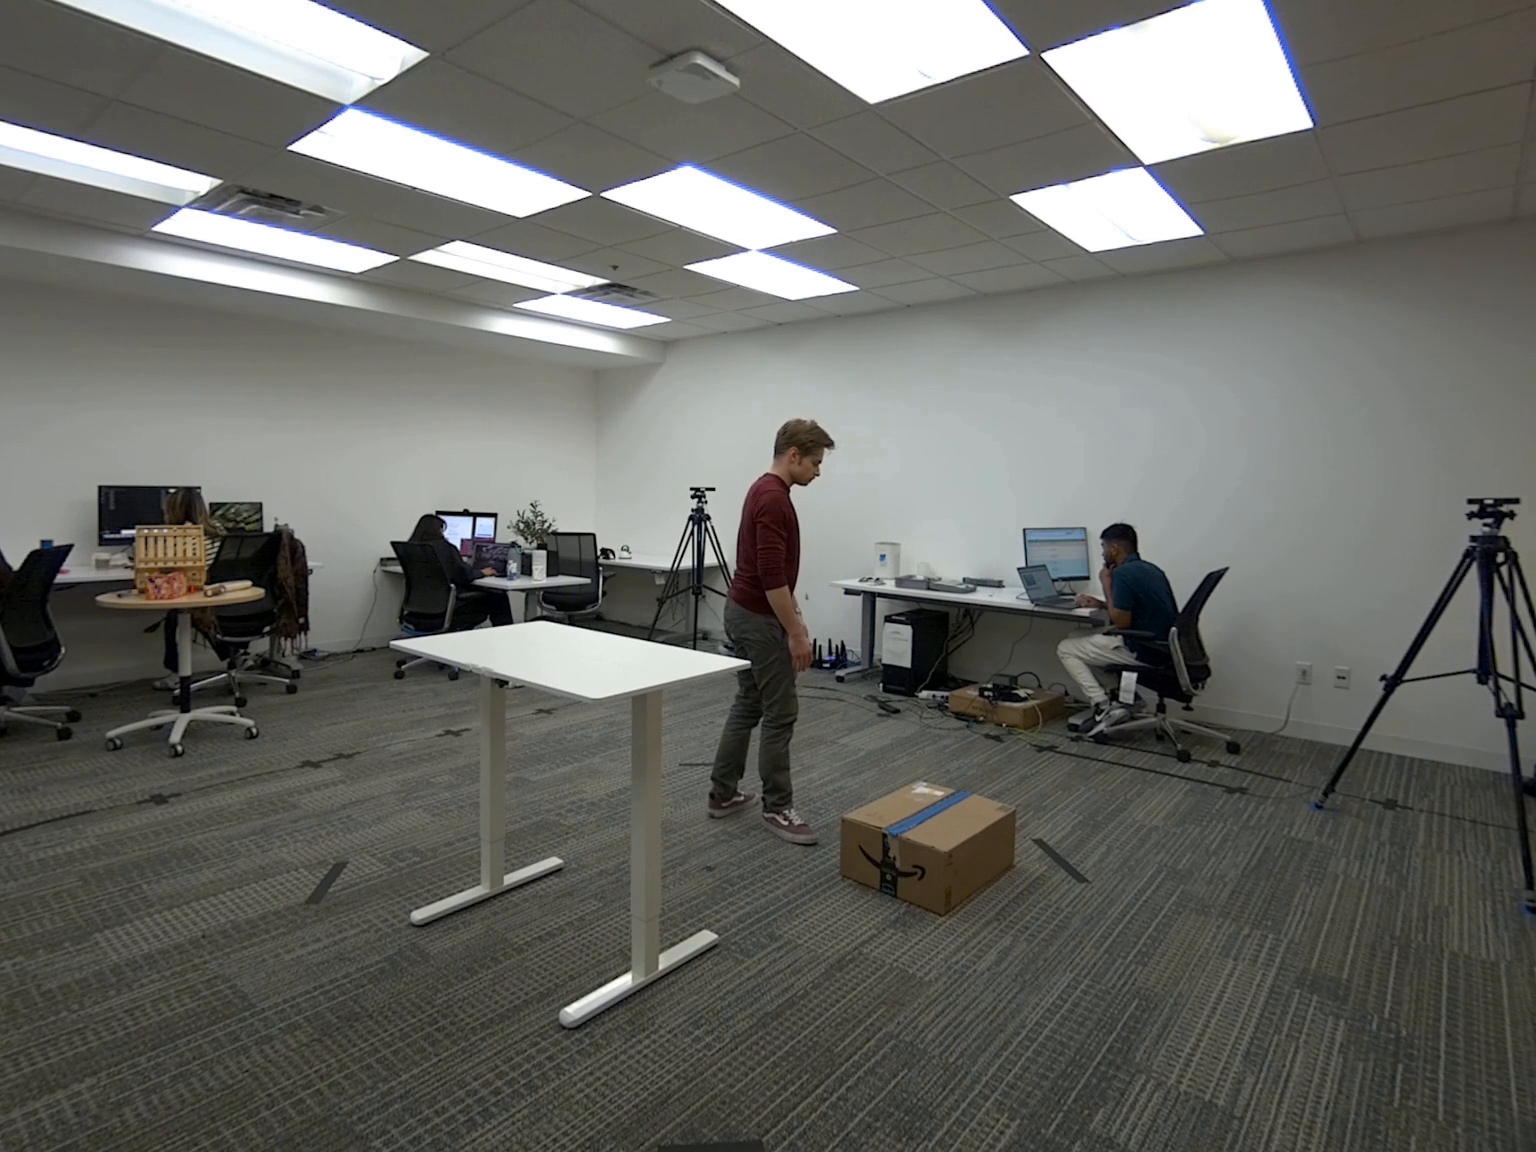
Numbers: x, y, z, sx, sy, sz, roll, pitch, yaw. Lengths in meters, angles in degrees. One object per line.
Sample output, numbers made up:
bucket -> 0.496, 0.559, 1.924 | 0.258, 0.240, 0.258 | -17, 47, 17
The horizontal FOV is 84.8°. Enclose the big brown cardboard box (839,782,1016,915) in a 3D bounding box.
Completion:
big brown cardboard box -> 0.596, 0.973, 3.141 | 0.432, 0.232, 0.572 | 6, 7, 40
